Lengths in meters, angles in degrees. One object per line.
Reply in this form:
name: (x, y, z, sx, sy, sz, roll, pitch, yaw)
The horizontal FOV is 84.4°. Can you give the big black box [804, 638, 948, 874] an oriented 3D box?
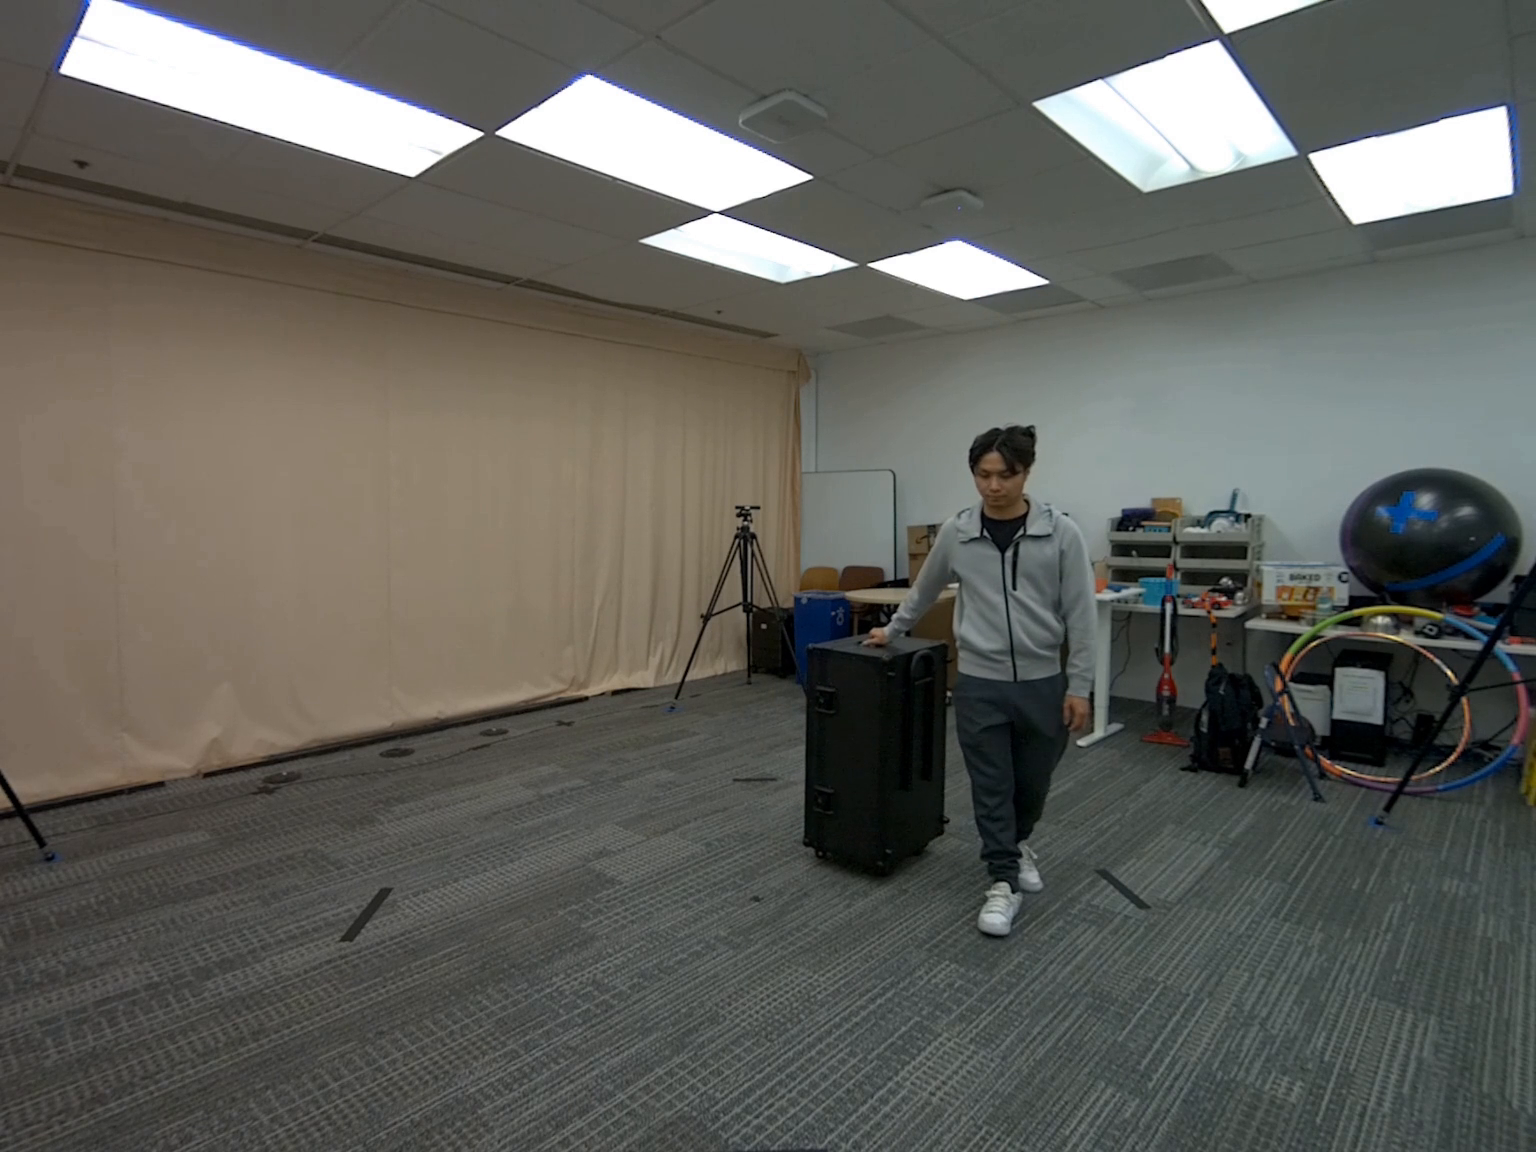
big black box: (0.446, 0.691, 3.317, 0.409, 0.859, 0.505, 5, 5, 40)
